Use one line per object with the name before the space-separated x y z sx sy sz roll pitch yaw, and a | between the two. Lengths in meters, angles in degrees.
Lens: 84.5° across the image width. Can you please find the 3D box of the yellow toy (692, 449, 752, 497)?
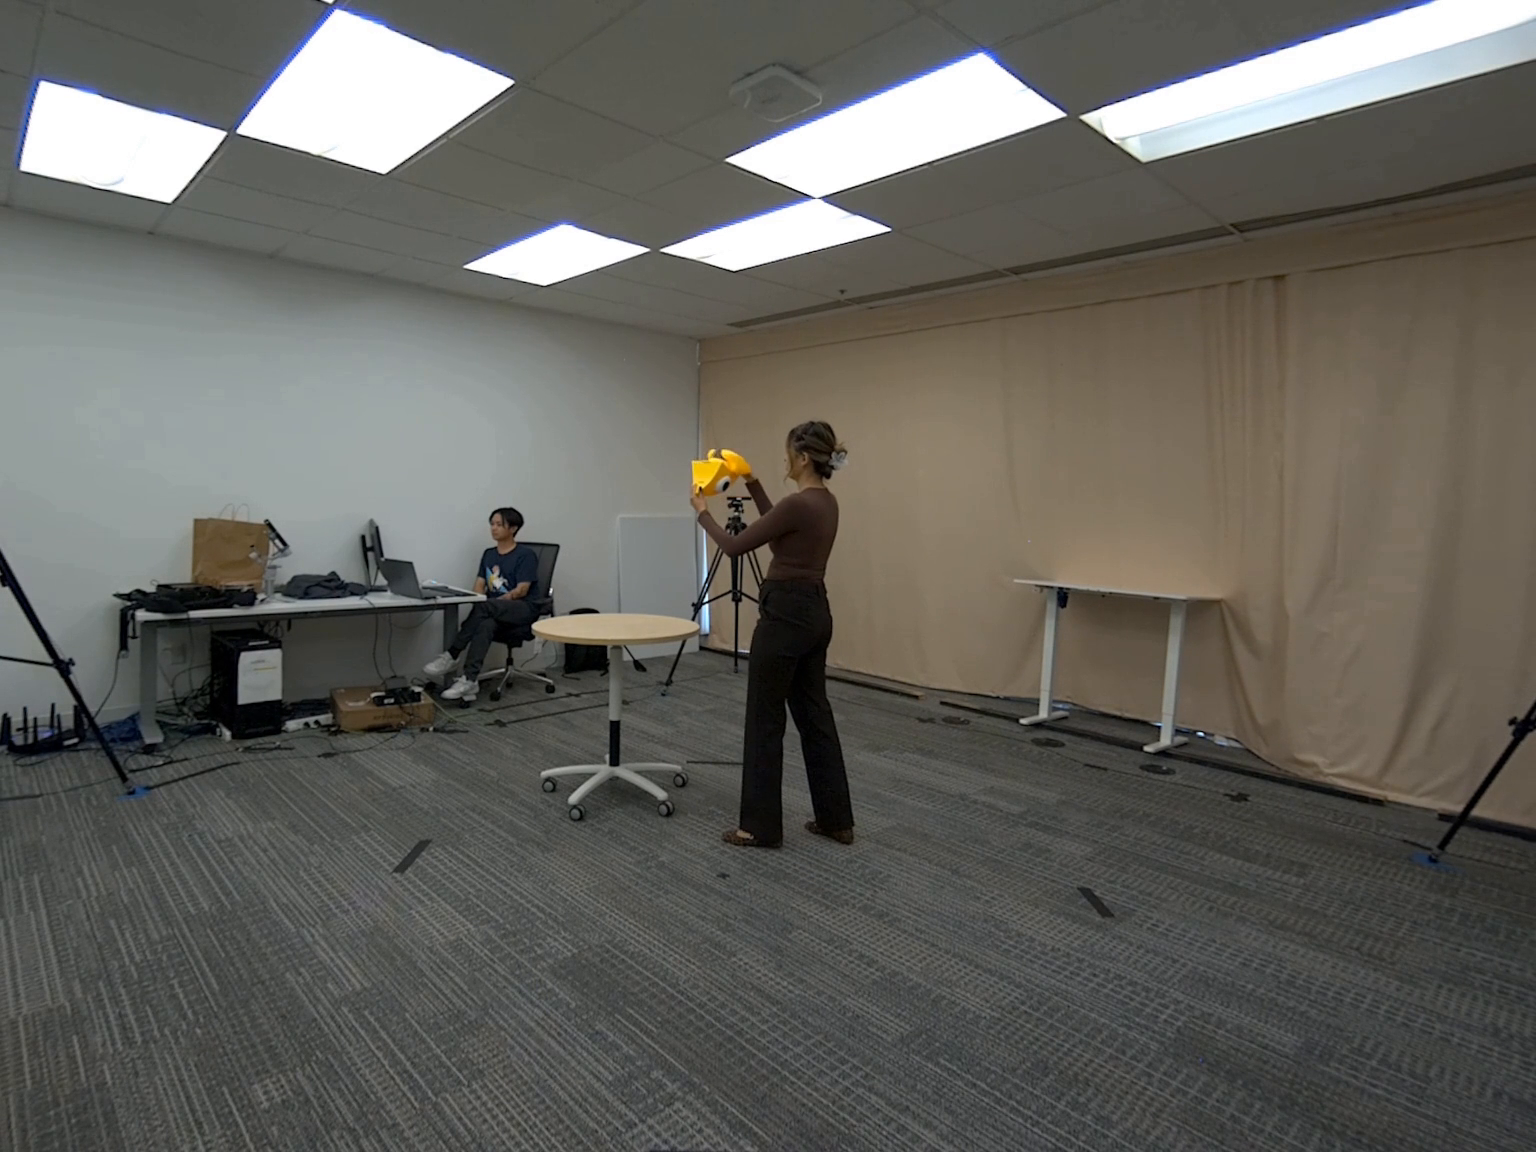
yellow toy | -0.224 -0.406 3.594 0.210 0.232 0.187 9 -25 48
